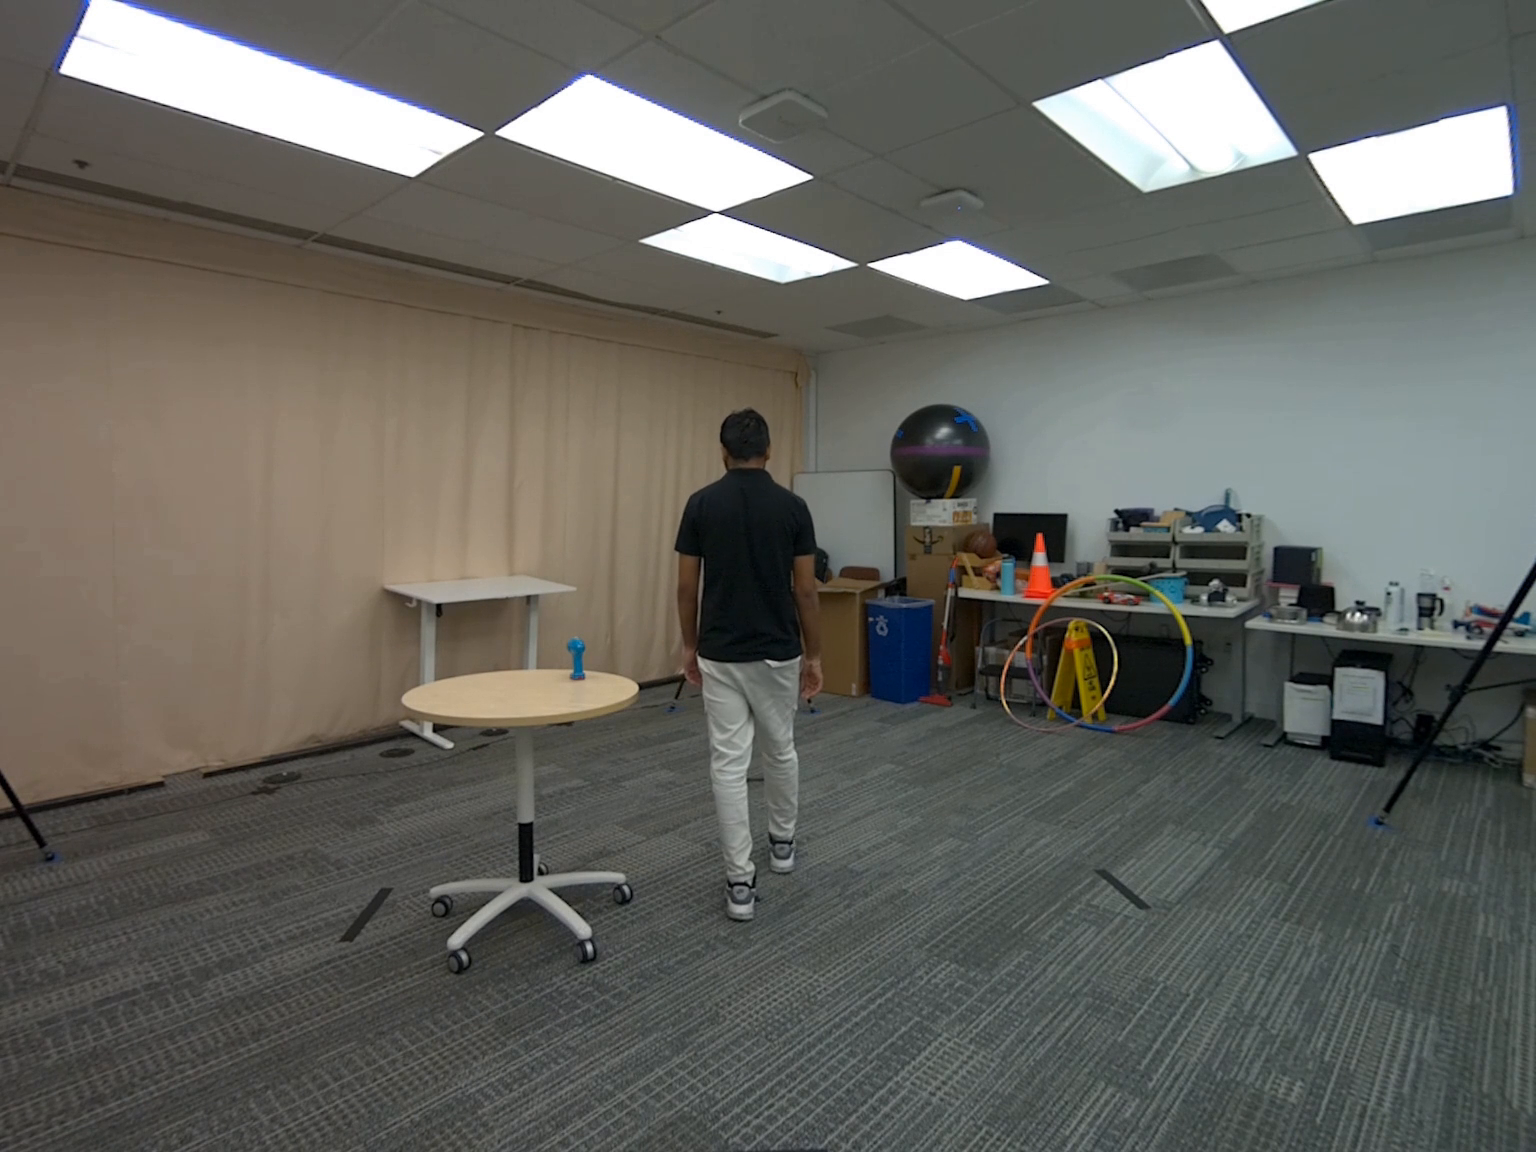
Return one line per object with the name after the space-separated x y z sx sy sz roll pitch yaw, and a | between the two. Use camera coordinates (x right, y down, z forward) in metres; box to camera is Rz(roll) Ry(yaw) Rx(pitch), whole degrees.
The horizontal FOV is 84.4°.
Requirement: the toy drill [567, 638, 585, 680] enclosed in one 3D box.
-0.700 0.293 3.049 0.059 0.145 0.175 -3 5 -29 | toy drill
